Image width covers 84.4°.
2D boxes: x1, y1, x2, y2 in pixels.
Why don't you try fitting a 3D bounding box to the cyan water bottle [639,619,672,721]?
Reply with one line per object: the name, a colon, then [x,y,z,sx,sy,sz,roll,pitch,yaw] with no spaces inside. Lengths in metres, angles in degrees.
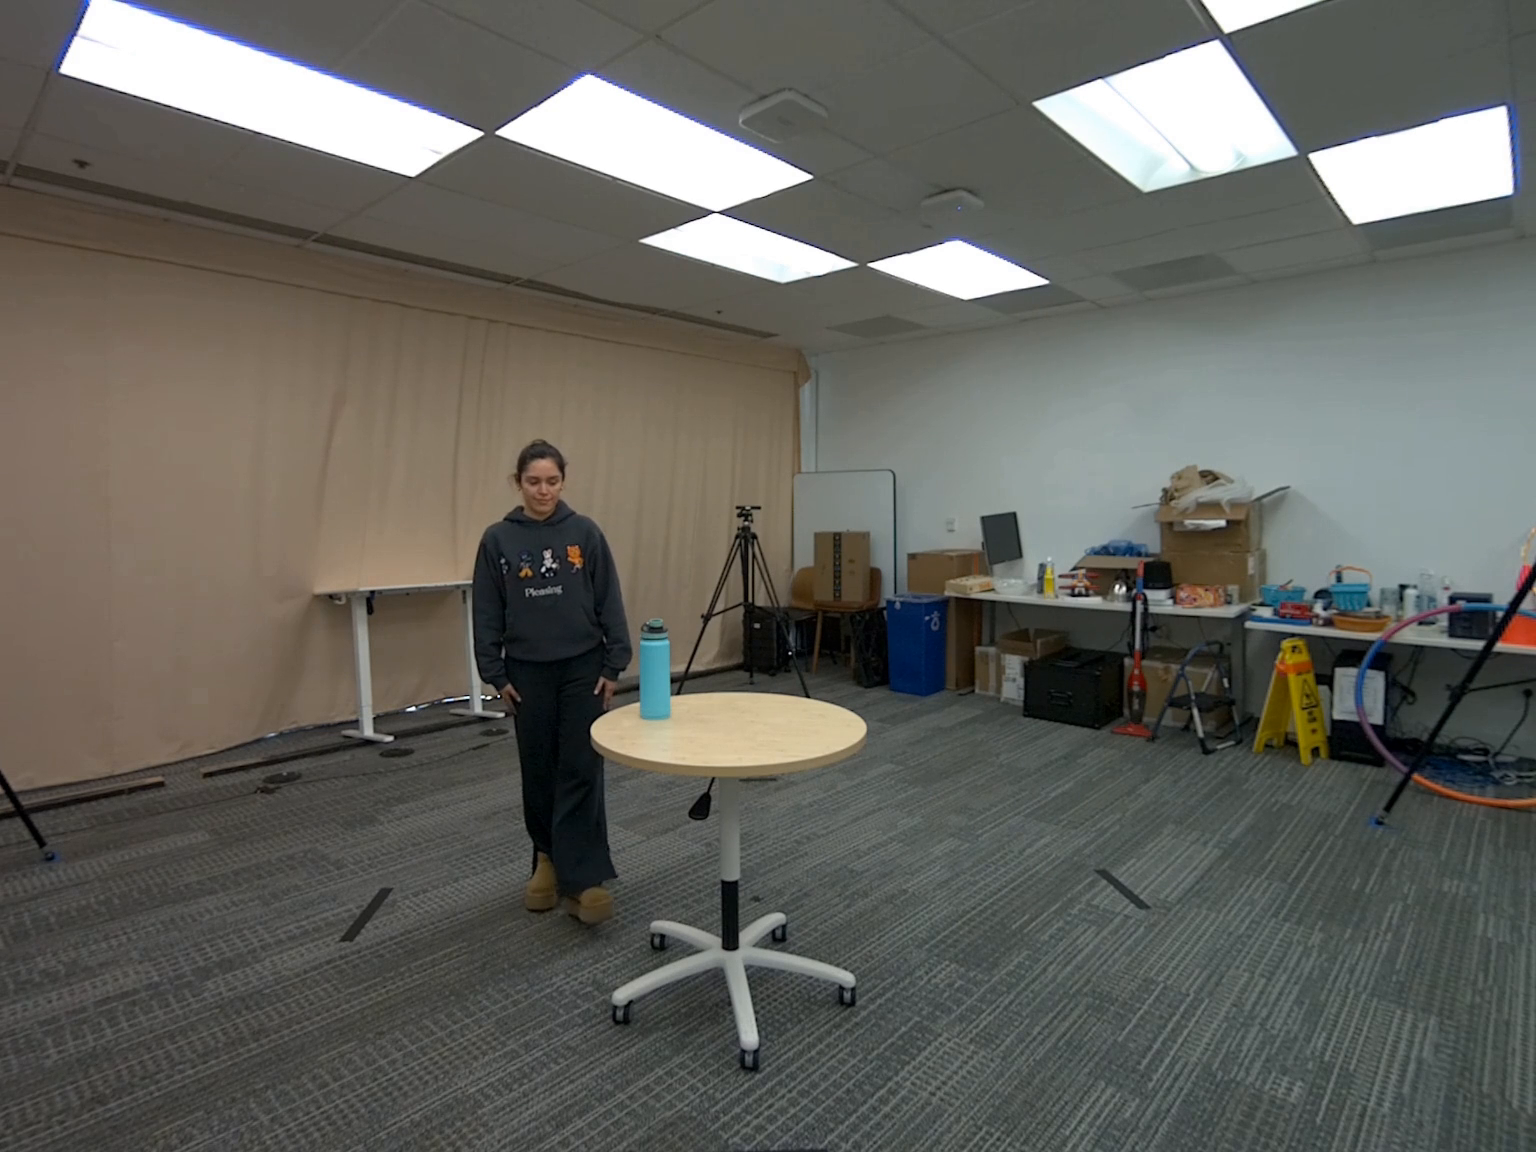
cyan water bottle: [-0.320,0.273,2.446,0.092,0.283,0.092,-3,3,-2]
